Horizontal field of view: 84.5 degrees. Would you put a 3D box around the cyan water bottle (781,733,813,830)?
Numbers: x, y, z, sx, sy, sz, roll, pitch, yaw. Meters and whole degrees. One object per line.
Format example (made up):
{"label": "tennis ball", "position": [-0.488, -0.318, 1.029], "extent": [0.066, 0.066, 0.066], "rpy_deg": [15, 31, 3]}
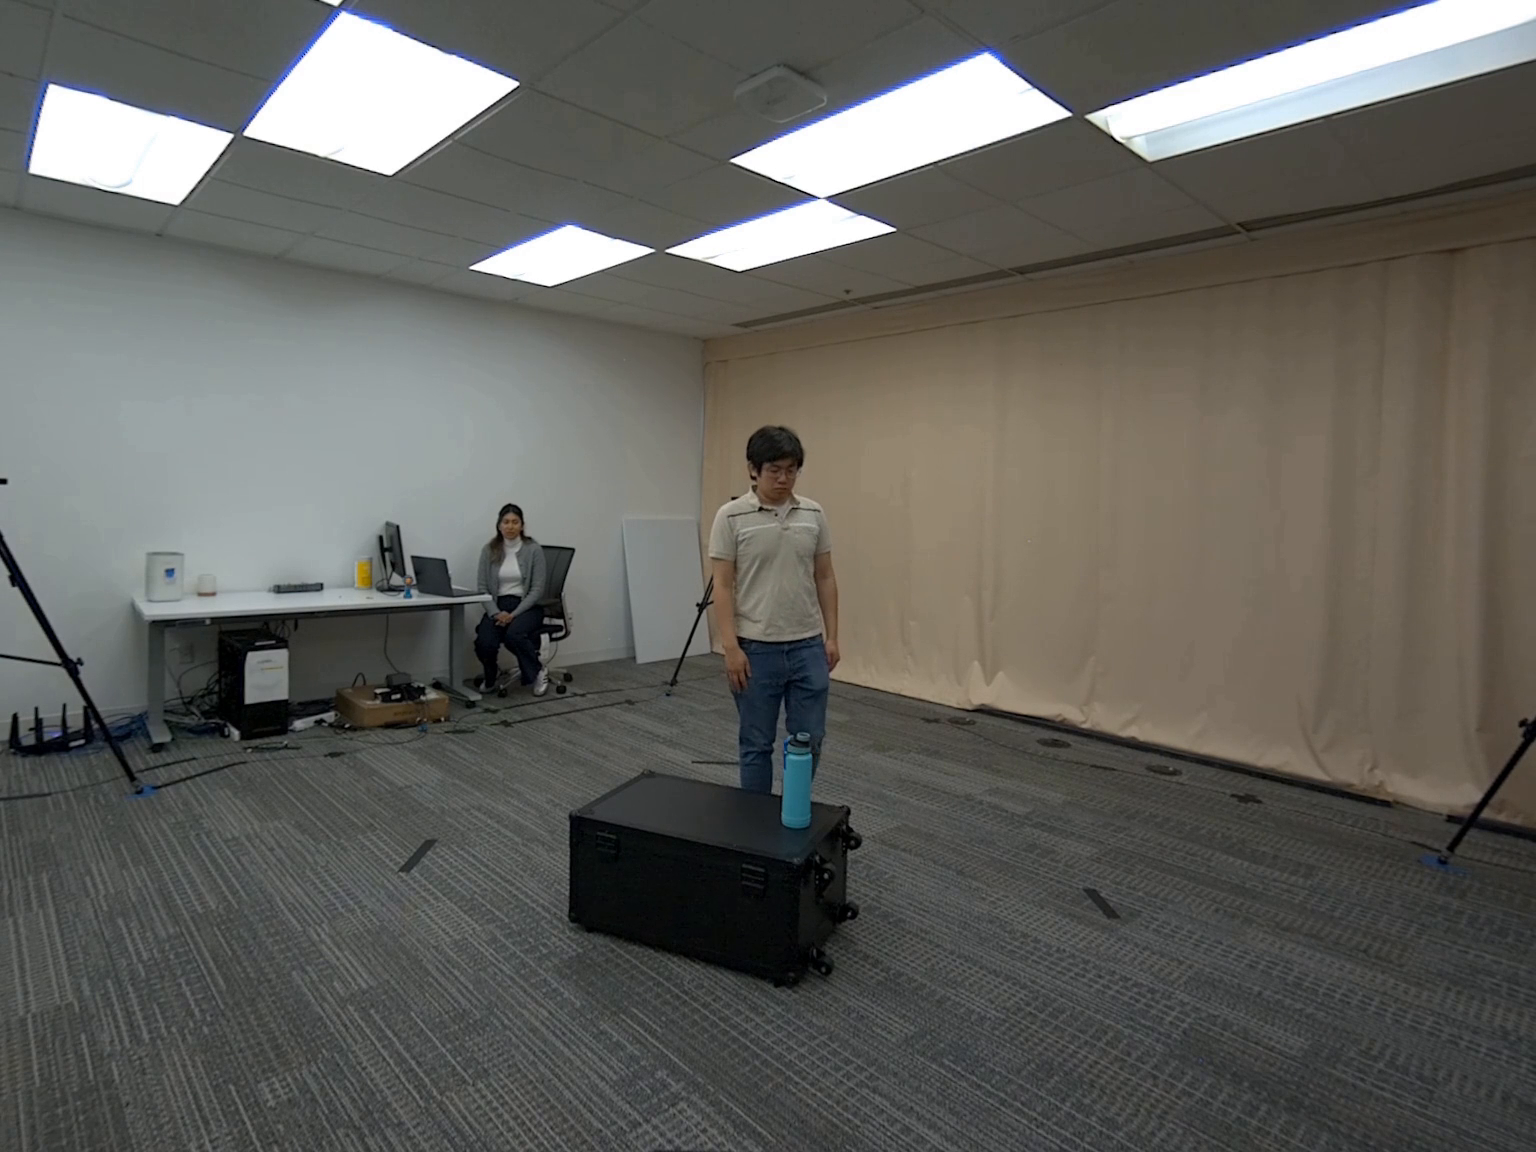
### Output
{"label": "cyan water bottle", "position": [0.081, 0.641, 2.639], "extent": [0.092, 0.283, 0.092], "rpy_deg": [-1, 2, -1]}
